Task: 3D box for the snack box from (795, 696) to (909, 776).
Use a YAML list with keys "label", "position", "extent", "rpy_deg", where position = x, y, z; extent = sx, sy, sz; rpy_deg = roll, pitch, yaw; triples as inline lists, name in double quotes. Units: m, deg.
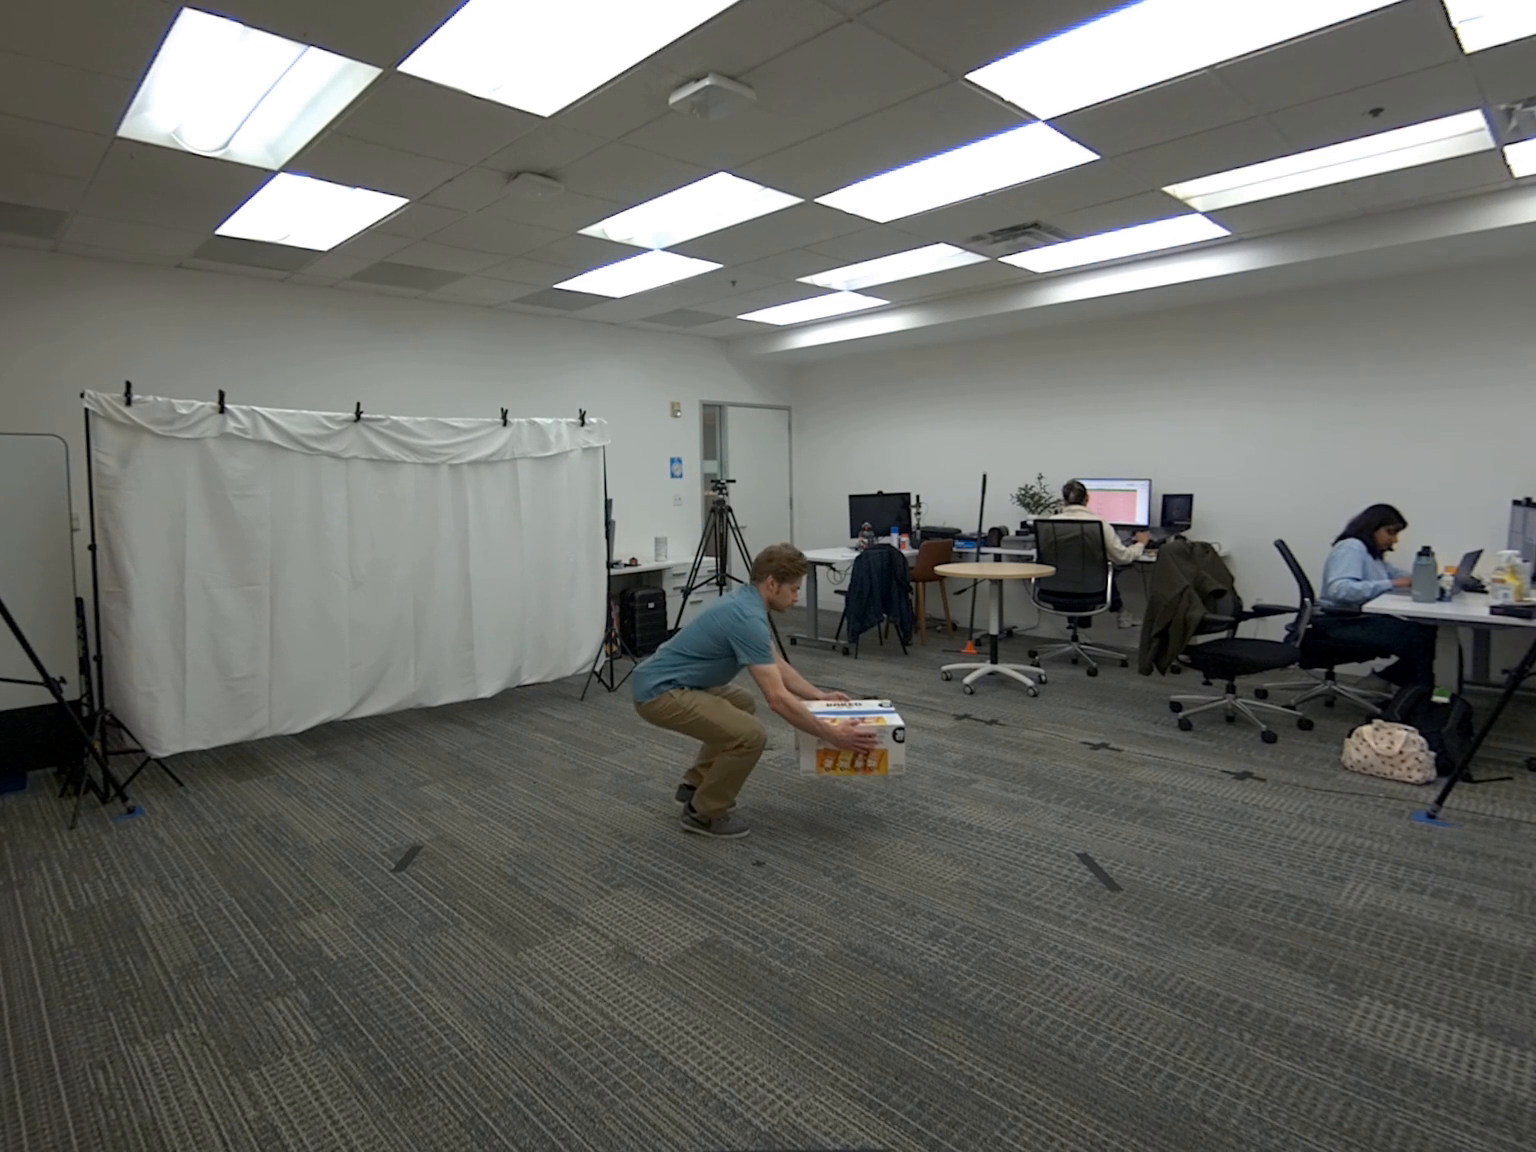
- label: "snack box"
  position: [0.325, 0.634, 3.446]
  extent: [0.405, 0.204, 0.342]
  rpy_deg: [-1, 7, 0]
